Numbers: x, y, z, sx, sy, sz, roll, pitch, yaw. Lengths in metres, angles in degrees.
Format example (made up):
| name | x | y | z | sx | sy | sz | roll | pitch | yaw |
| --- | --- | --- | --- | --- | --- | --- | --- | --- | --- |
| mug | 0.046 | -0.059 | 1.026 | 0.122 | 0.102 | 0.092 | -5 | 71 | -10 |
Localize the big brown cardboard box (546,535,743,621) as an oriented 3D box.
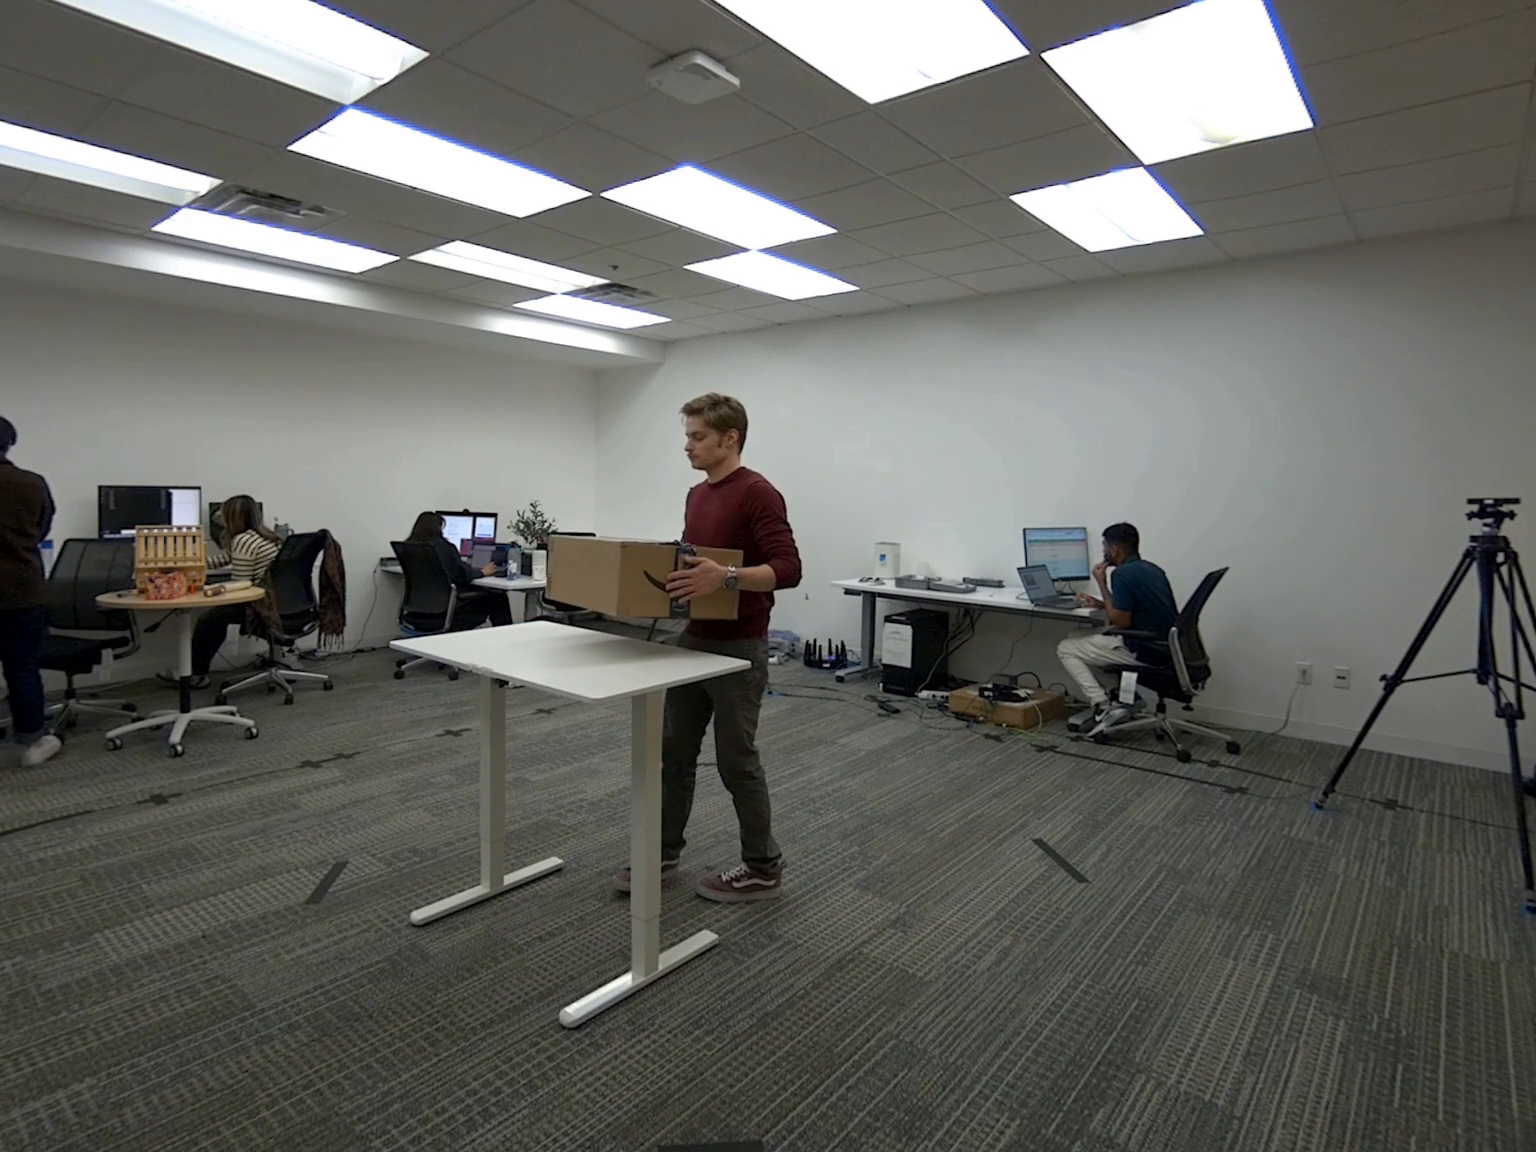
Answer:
| name | x | y | z | sx | sy | sz | roll | pitch | yaw |
| --- | --- | --- | --- | --- | --- | --- | --- | --- | --- |
| big brown cardboard box | -0.424 | -0.008 | 2.752 | 0.405 | 0.233 | 0.607 | 3 | 2 | -34 |
